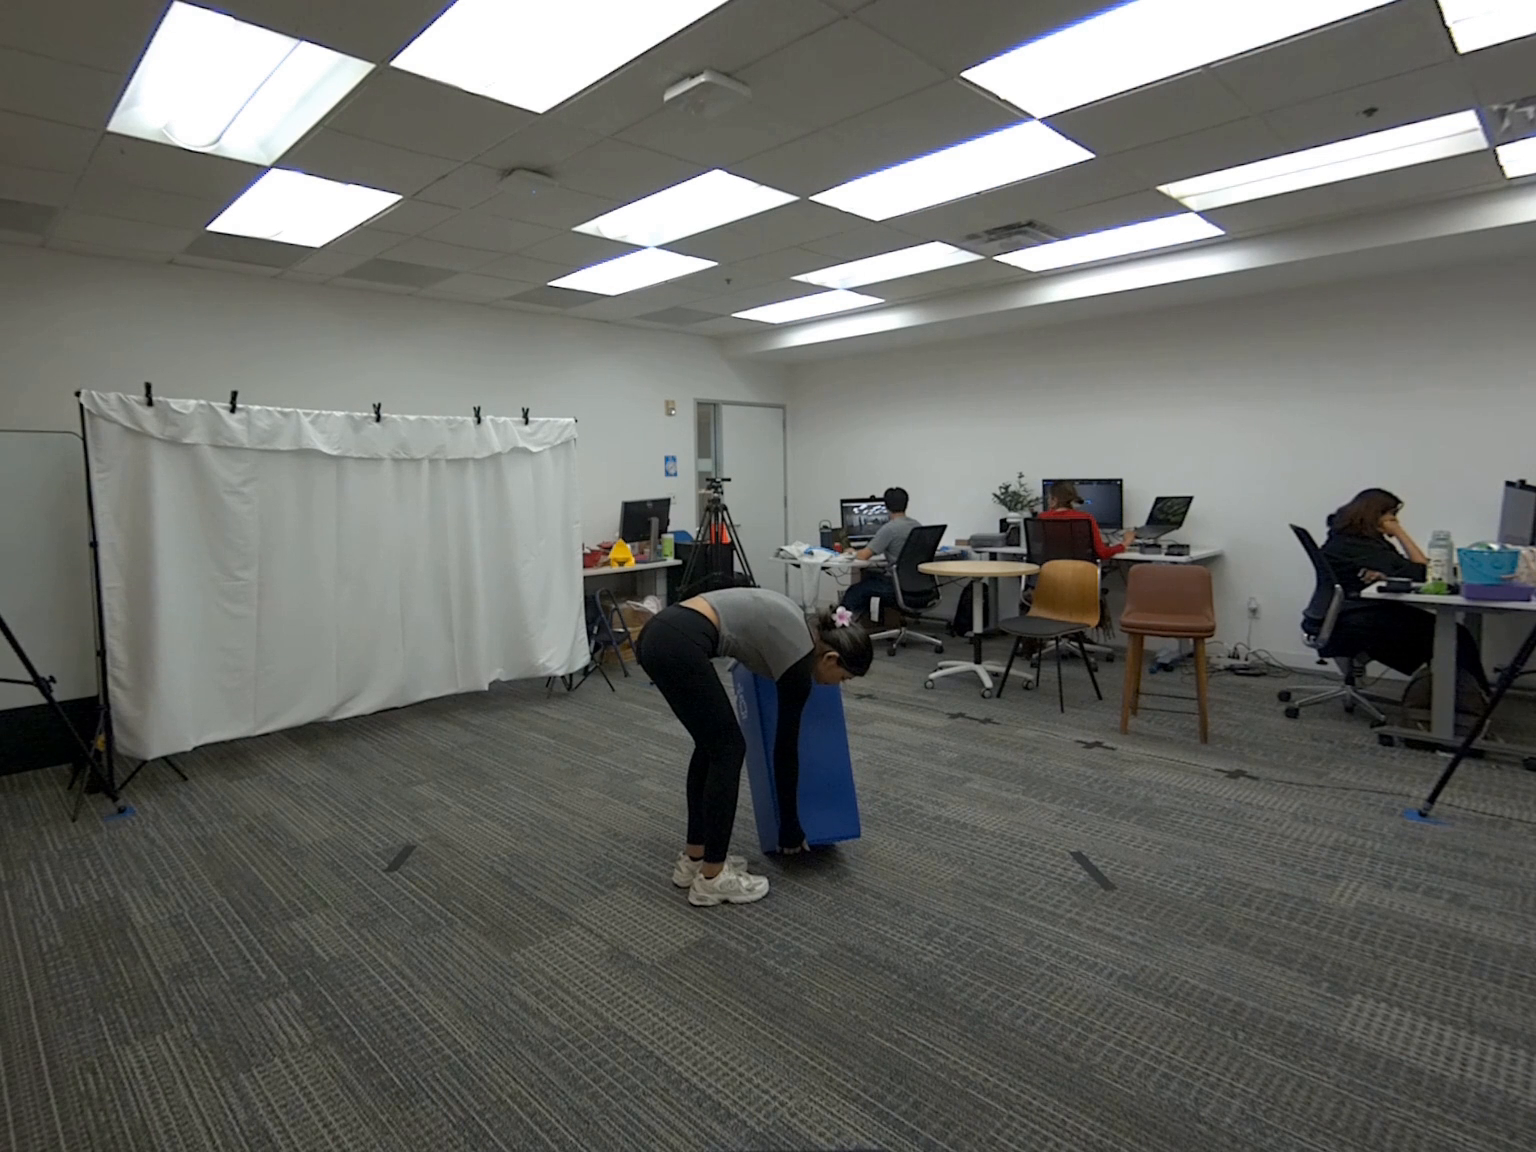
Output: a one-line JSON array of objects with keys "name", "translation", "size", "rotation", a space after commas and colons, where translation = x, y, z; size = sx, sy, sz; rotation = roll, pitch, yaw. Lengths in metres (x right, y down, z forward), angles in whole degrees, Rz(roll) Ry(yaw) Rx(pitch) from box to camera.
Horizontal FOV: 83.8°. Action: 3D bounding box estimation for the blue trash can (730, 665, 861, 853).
[{"name": "blue trash can", "translation": [0.109, 0.637, 3.219], "size": [0.373, 0.728, 0.371], "rotation": [-3, -21, -16]}]
